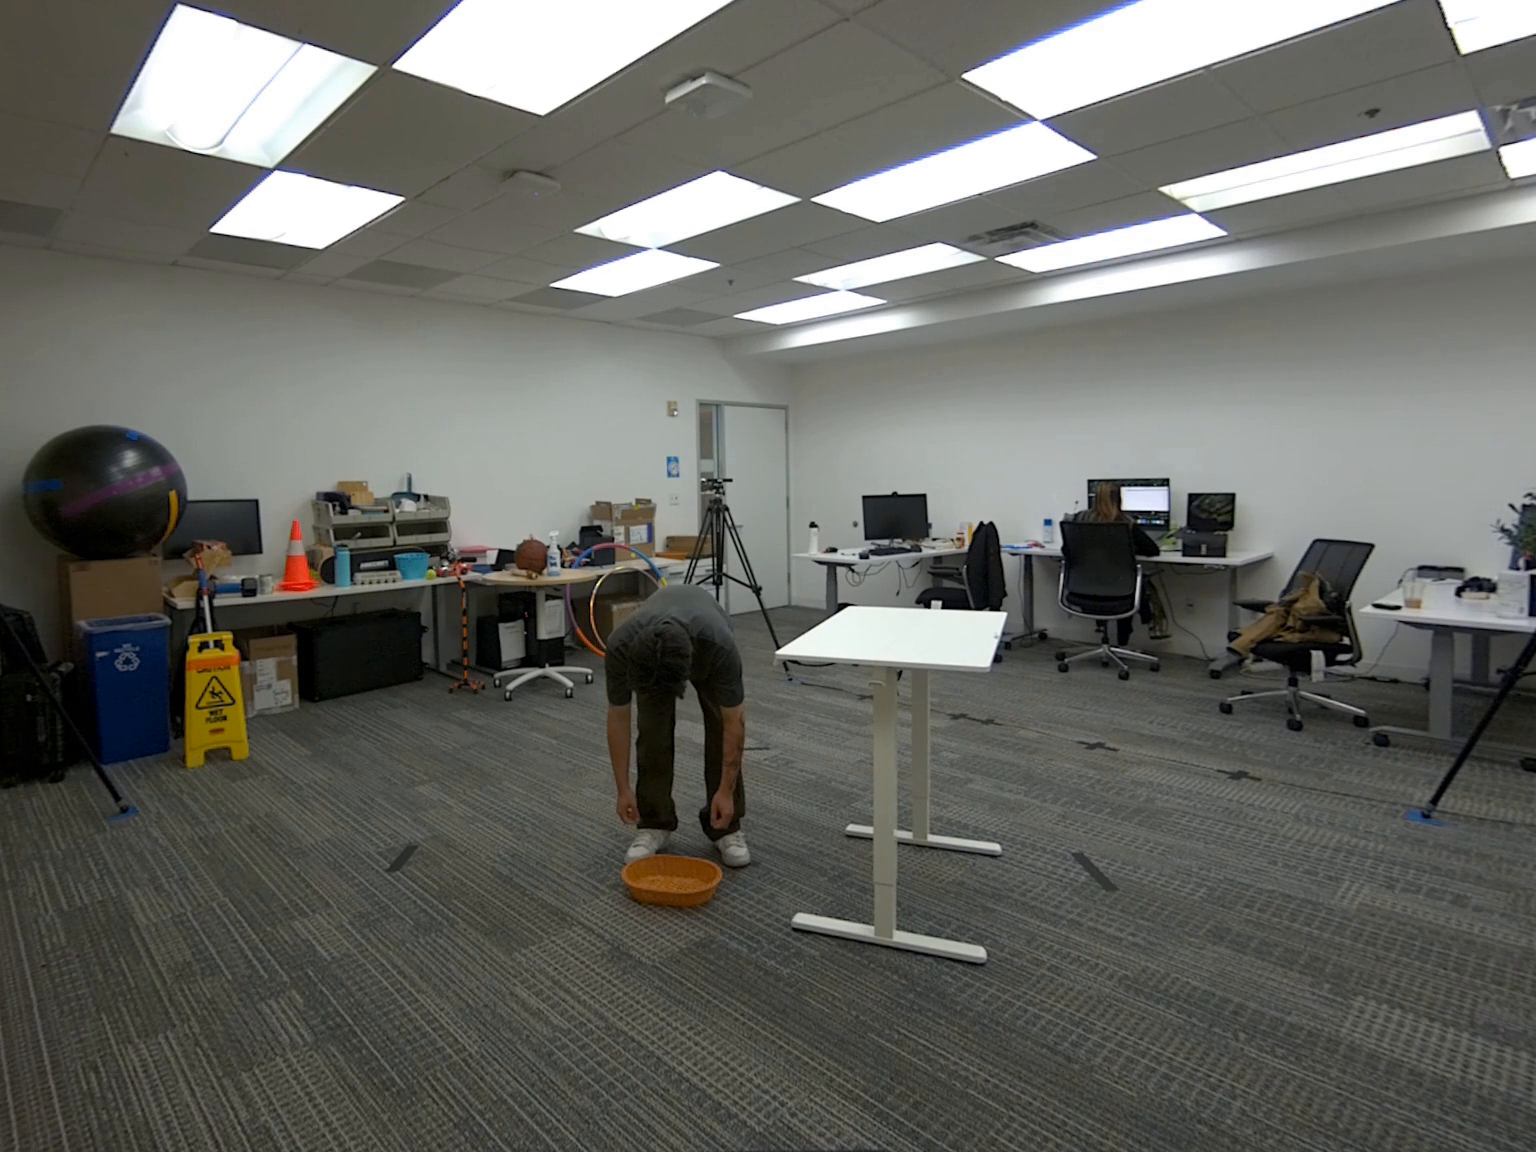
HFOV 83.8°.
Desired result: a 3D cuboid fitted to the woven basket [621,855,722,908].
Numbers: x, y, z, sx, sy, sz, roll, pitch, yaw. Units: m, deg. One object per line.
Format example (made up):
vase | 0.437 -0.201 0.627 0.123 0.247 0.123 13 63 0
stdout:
woven basket | -0.324 1.039 2.896 0.357 0.073 0.249 1 7 18
